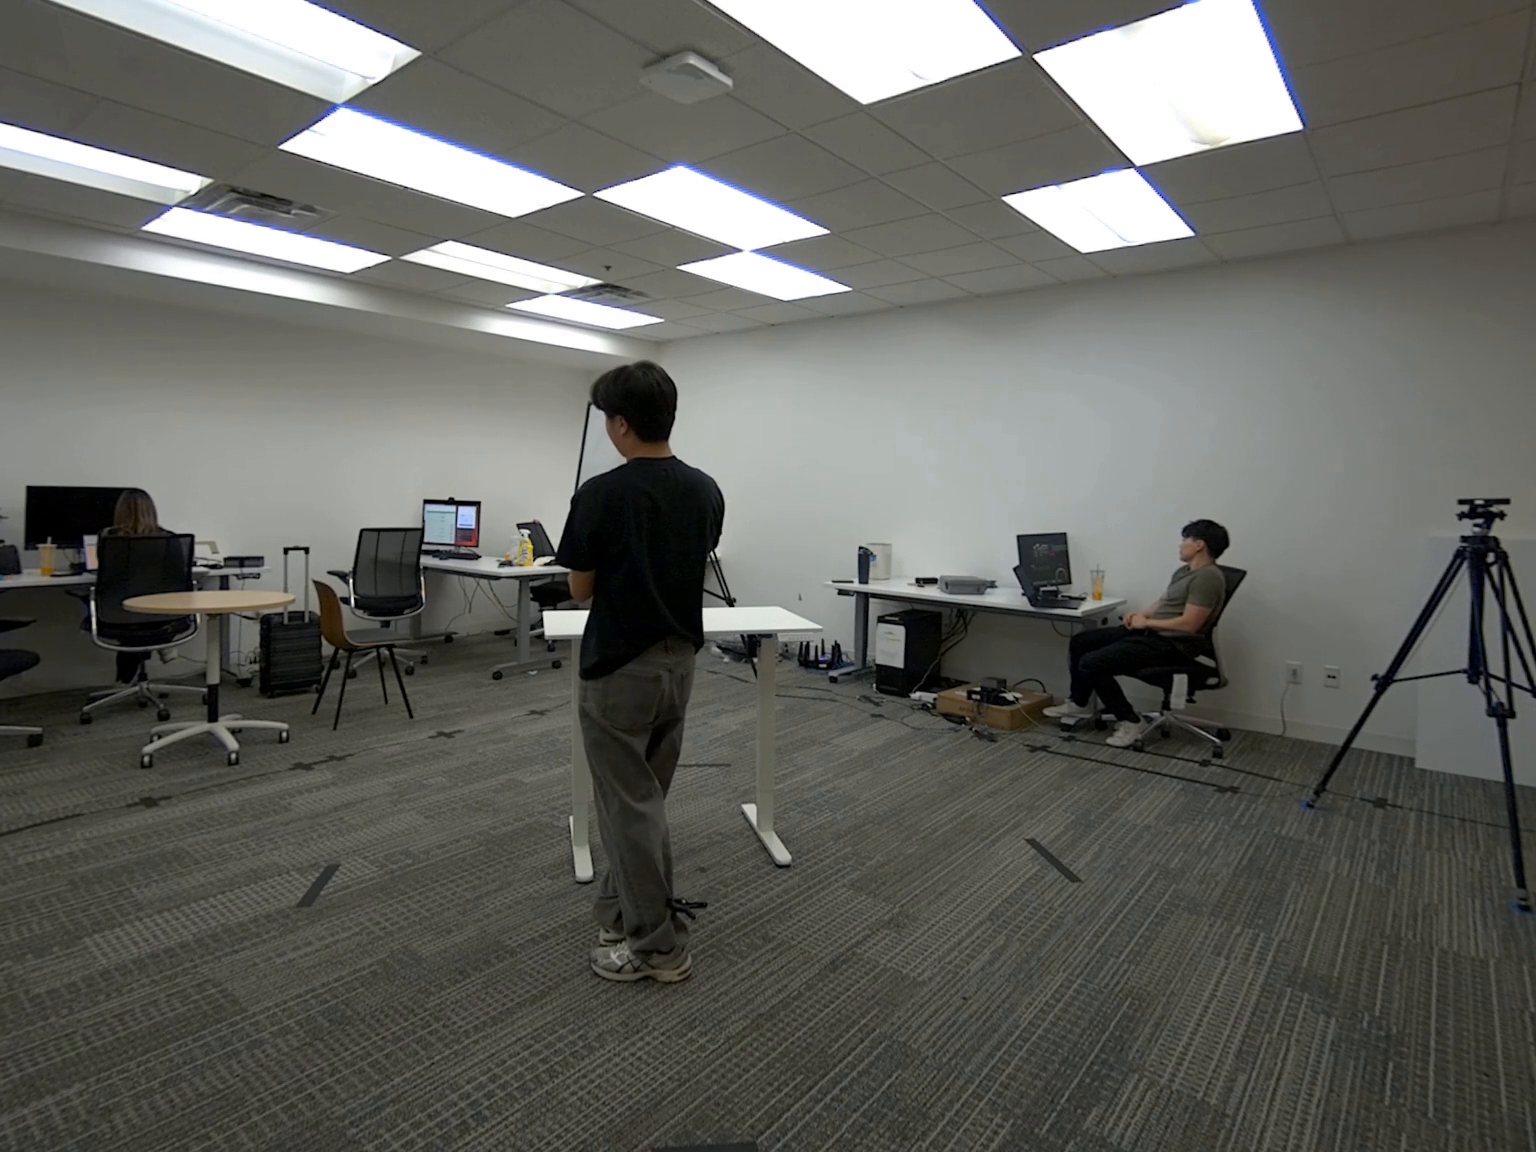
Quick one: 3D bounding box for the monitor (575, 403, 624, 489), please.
[{"bbox_3d":[-0.495,-0.306,2.789,0.217,0.561,0.579,-7,10,-27],"label":"monitor"}]
